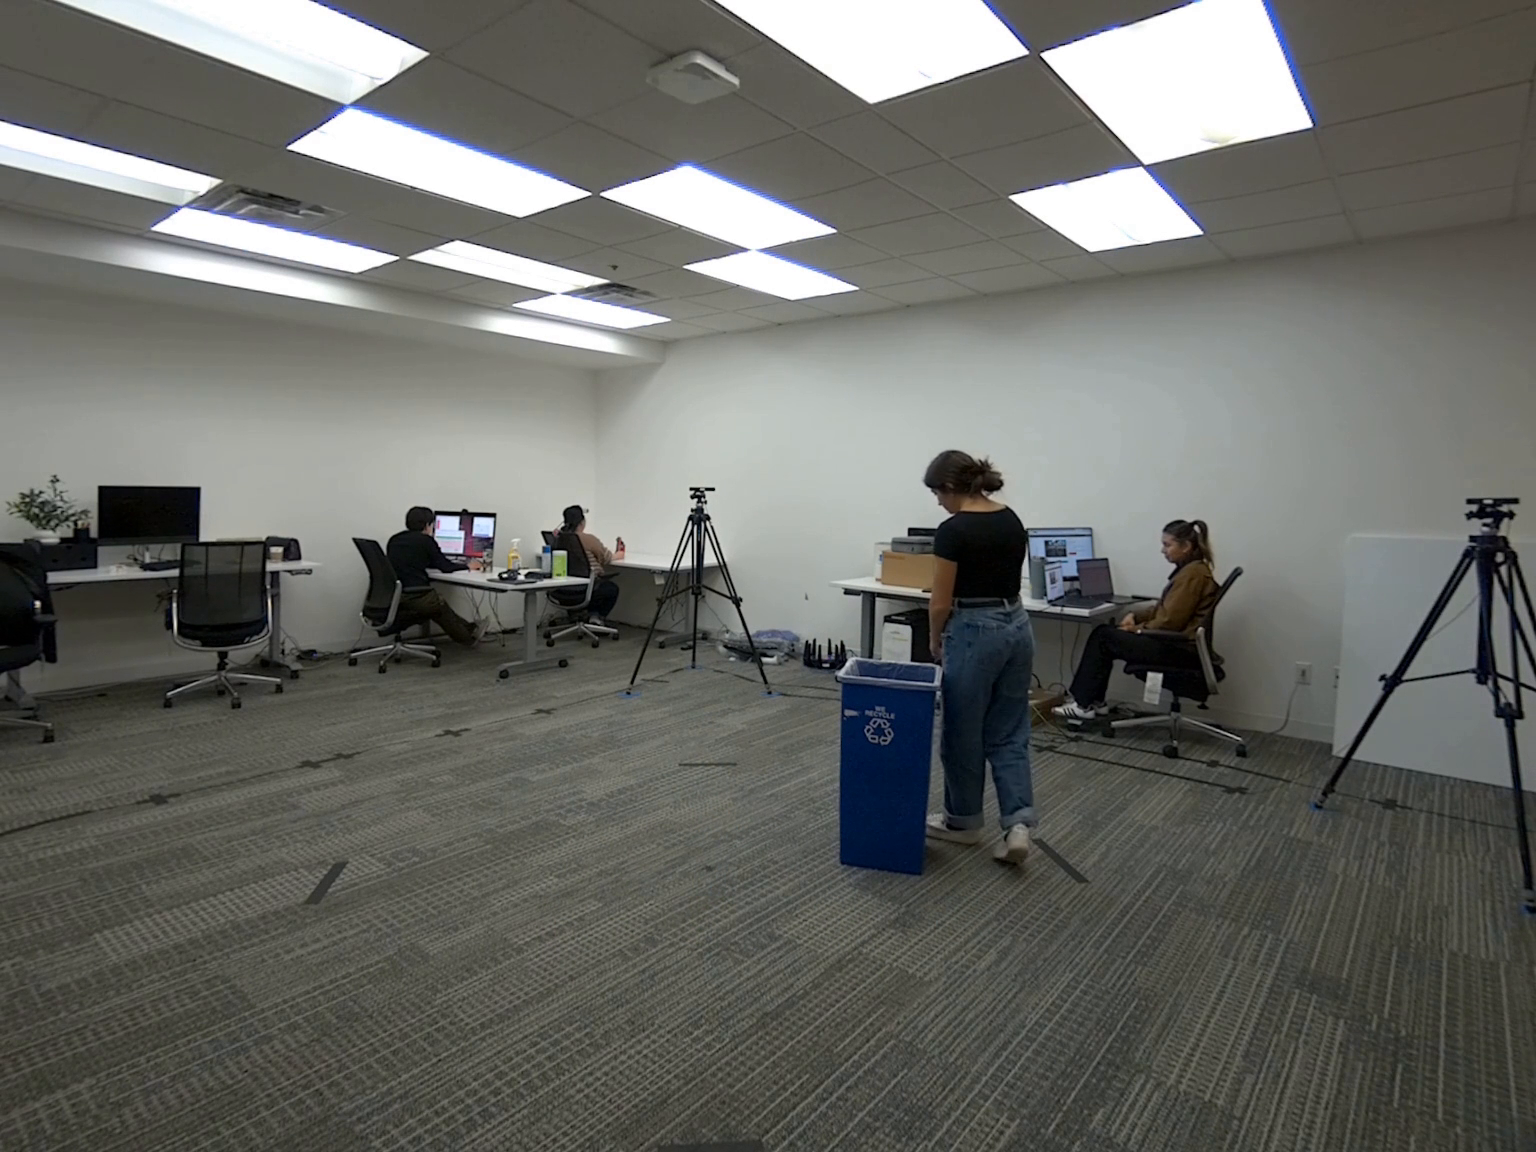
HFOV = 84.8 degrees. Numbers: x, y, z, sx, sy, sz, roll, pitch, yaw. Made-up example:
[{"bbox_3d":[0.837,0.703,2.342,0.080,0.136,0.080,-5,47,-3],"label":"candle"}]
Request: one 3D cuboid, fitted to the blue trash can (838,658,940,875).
[{"bbox_3d":[0.456,0.709,3.254,0.380,0.711,0.373,2,4,14],"label":"blue trash can"}]
